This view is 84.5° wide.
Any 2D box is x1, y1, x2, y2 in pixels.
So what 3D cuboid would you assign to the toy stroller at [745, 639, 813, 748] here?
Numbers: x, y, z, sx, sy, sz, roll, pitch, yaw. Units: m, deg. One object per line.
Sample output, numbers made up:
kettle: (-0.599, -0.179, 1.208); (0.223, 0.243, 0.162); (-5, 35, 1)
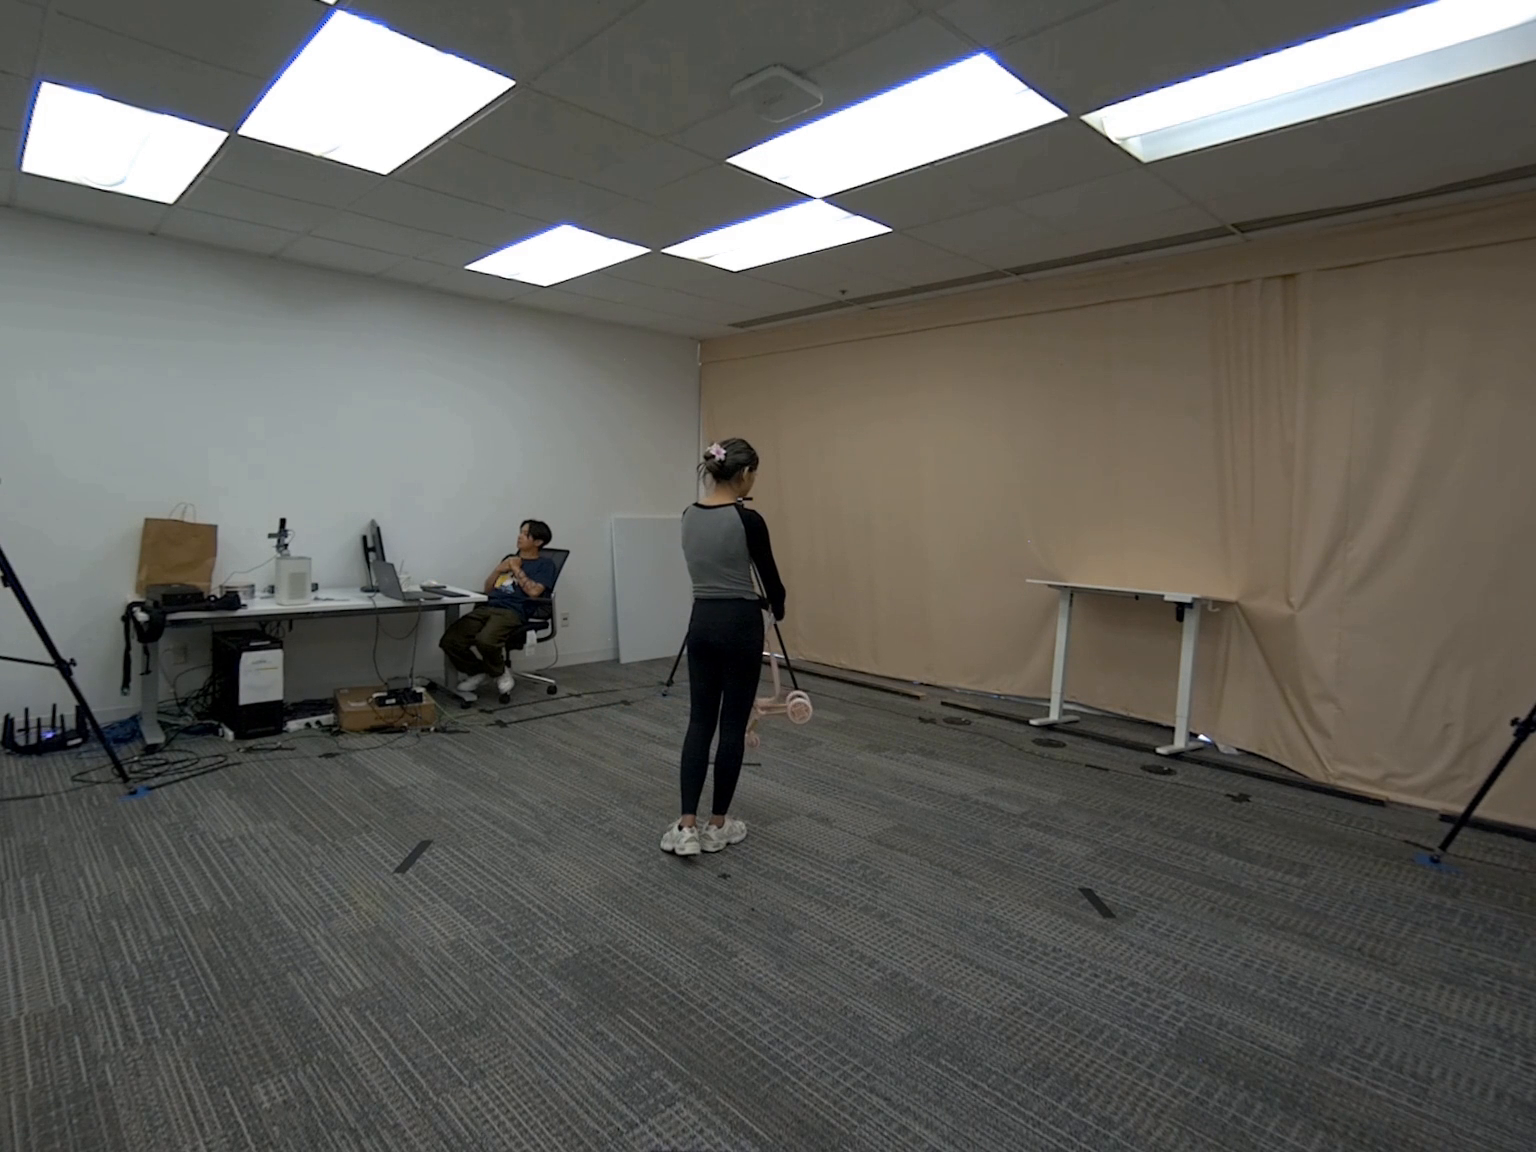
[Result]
toy stroller: (-0.039, 0.458, 3.662); (0.342, 0.536, 0.280); (-19, -1, 5)
